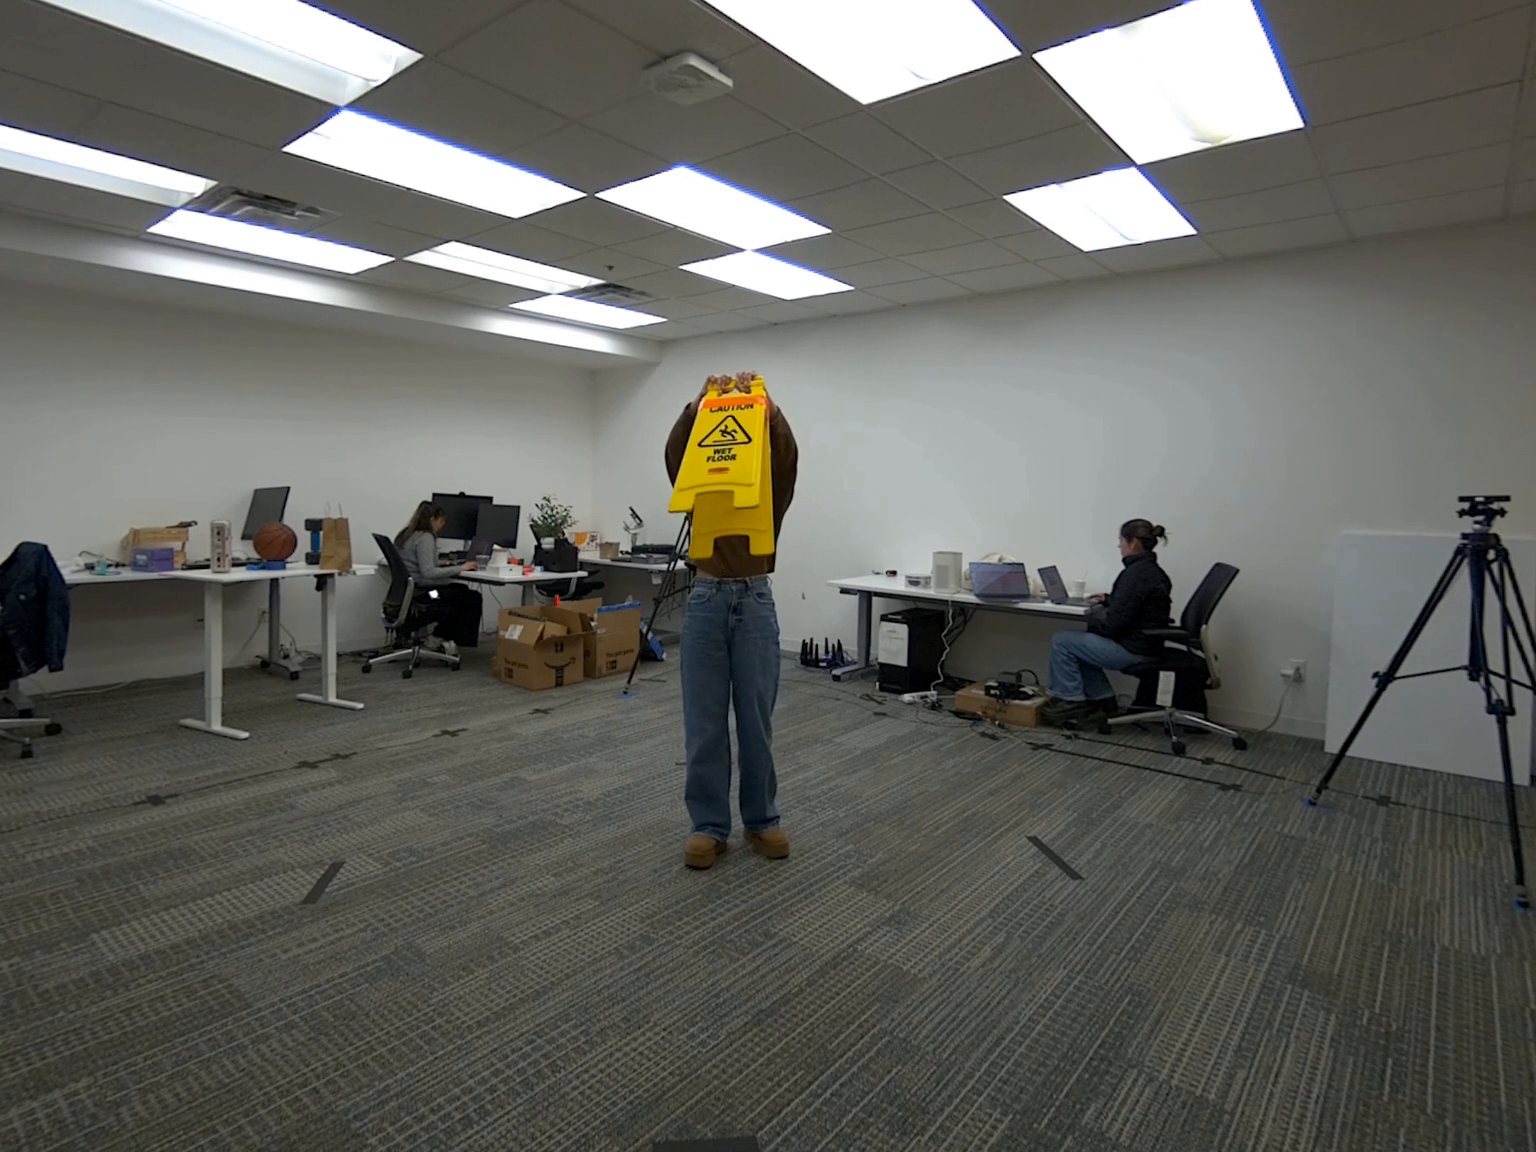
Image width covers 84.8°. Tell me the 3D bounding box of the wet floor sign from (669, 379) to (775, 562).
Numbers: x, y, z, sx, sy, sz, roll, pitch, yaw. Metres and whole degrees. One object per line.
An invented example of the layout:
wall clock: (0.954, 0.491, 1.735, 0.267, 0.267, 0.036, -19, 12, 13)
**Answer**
wet floor sign: (-0.135, -0.407, 2.778, 0.285, 0.662, 0.279, -5, -32, 11)
